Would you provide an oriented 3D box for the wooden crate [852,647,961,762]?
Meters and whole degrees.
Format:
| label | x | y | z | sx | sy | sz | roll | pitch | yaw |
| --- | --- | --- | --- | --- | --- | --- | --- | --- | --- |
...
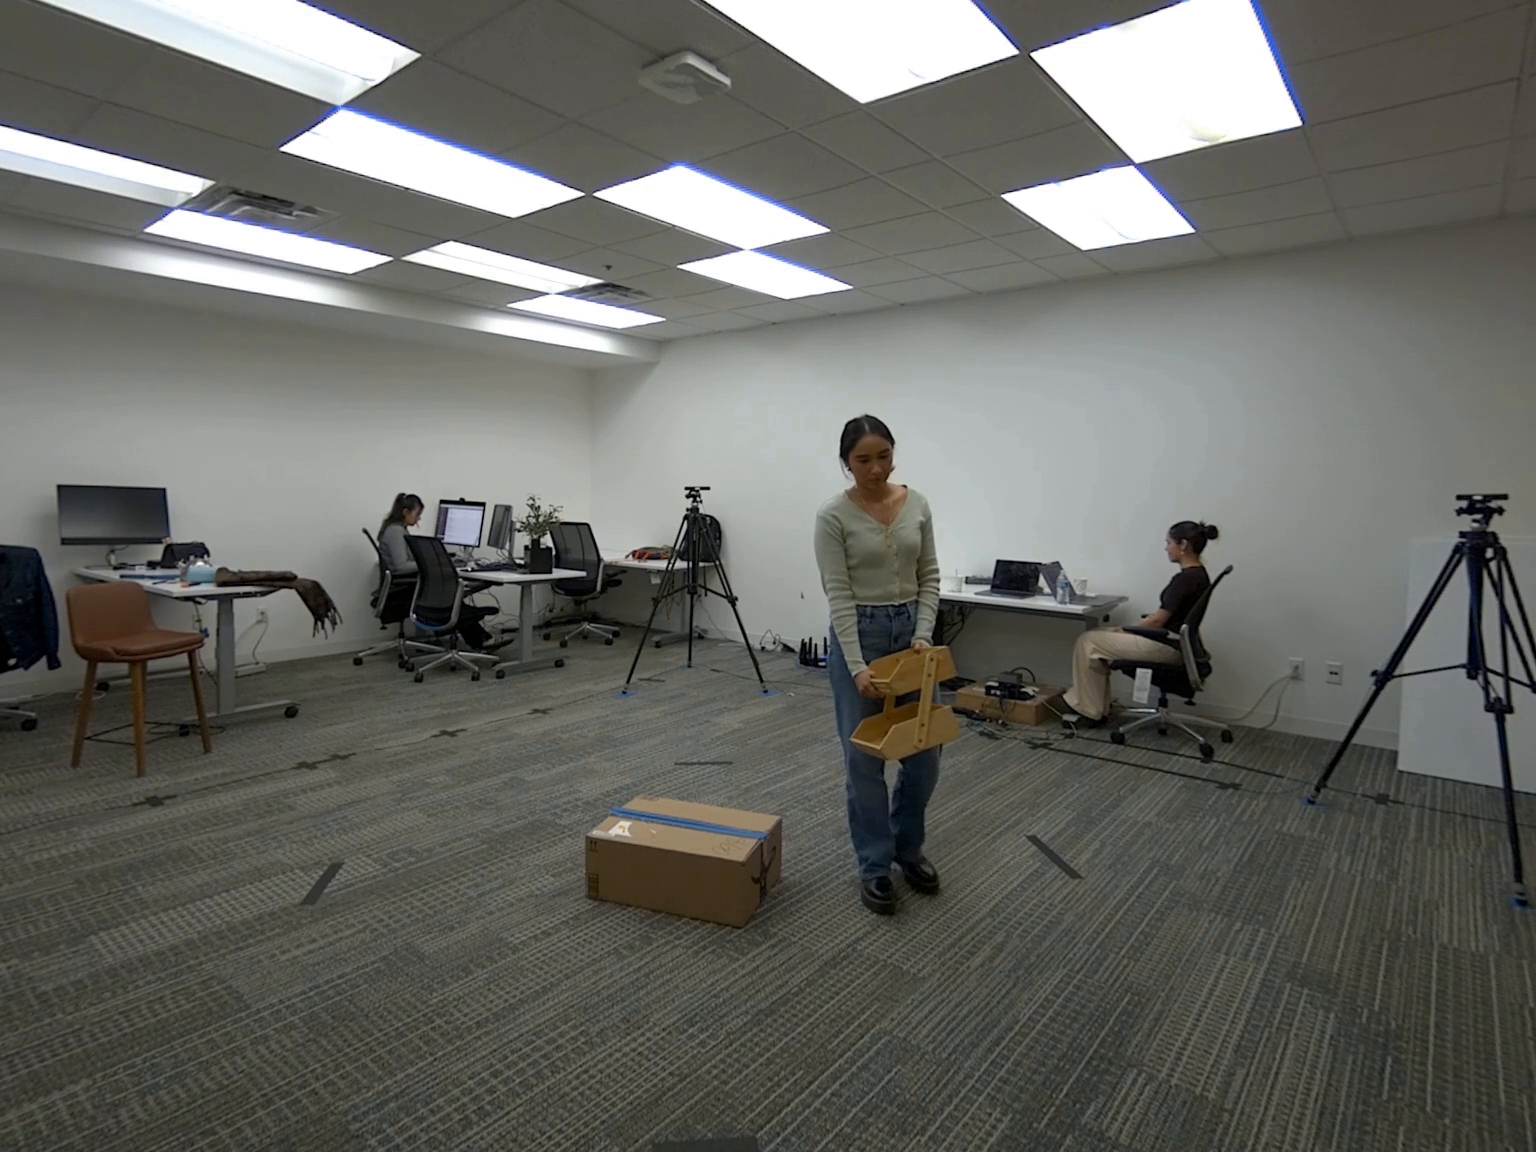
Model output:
| label | x | y | z | sx | sy | sz | roll | pitch | yaw |
| --- | --- | --- | --- | --- | --- | --- | --- | --- | --- |
| wooden crate | 0.390 | 0.387 | 2.653 | 0.299 | 0.275 | 0.325 | -19 | -3 | -12 |
